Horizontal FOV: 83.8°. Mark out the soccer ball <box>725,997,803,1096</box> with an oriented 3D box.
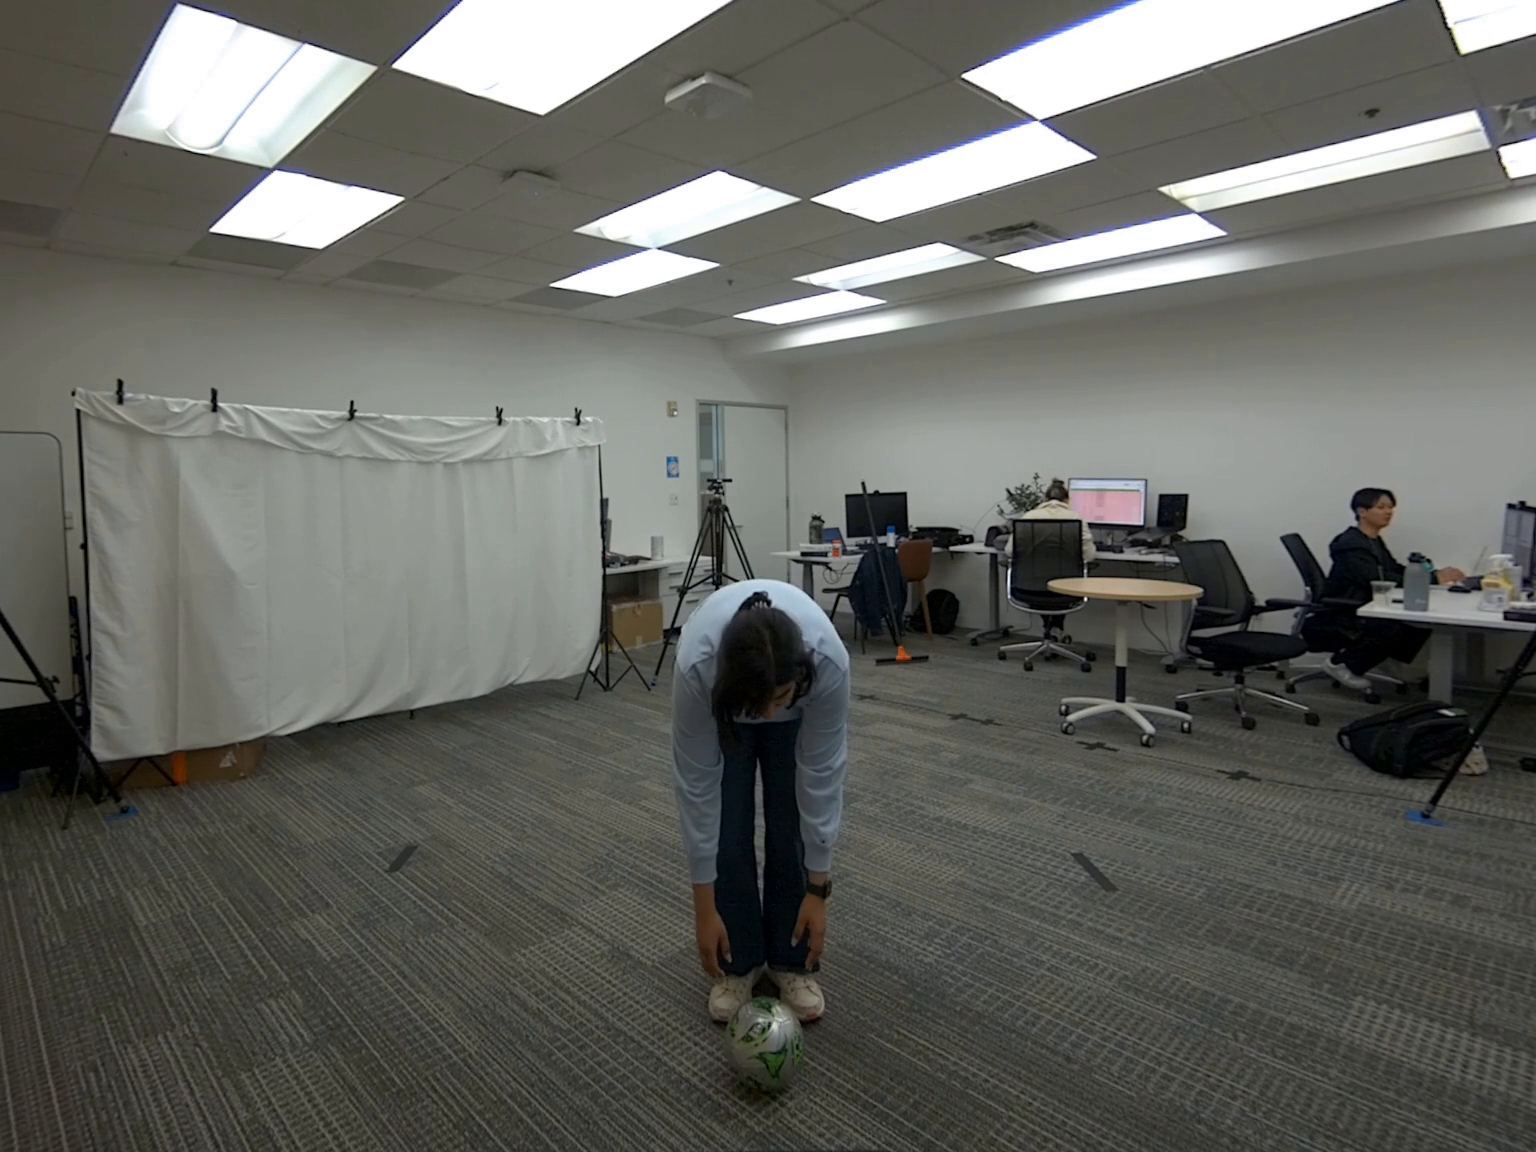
[{"bbox_3d":[-0.007,1.092,1.978,0.187,0.187,0.188,-1,5,-2],"label":"soccer ball"}]
